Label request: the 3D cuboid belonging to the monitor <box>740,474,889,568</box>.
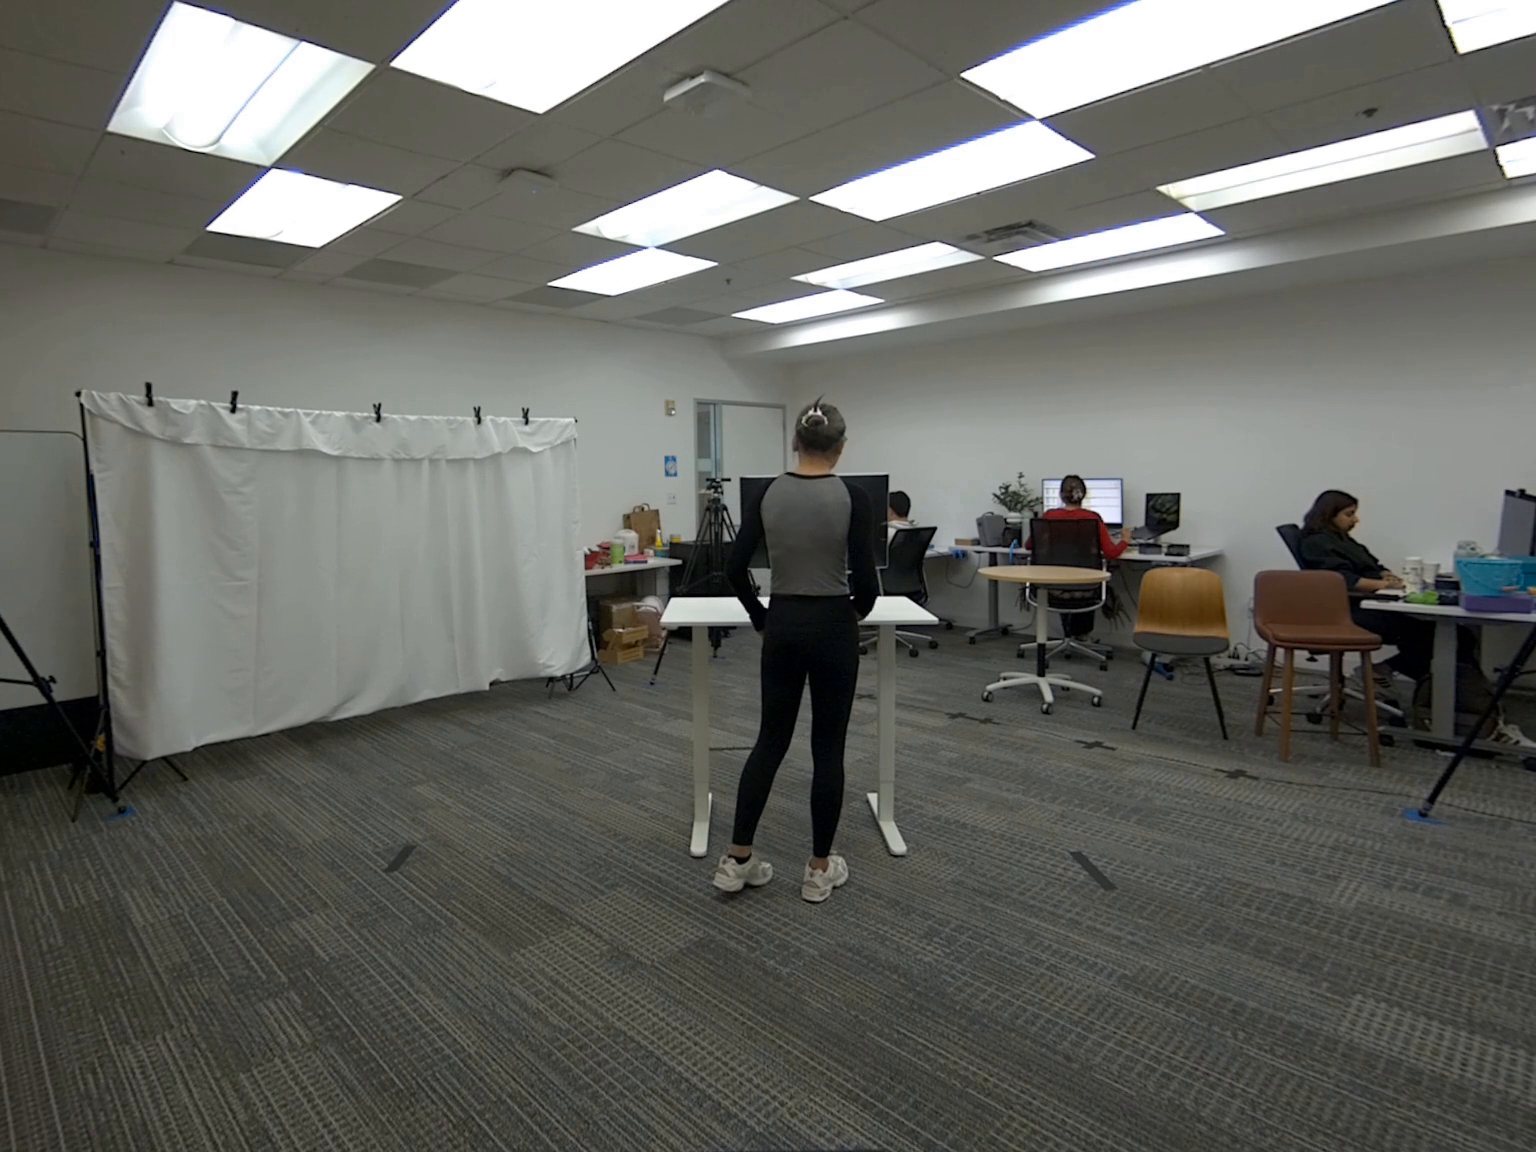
[{"bbox_3d":[0.170,-0.110,3.197,0.540,0.521,0.187,0,2,2],"label":"monitor"}]
